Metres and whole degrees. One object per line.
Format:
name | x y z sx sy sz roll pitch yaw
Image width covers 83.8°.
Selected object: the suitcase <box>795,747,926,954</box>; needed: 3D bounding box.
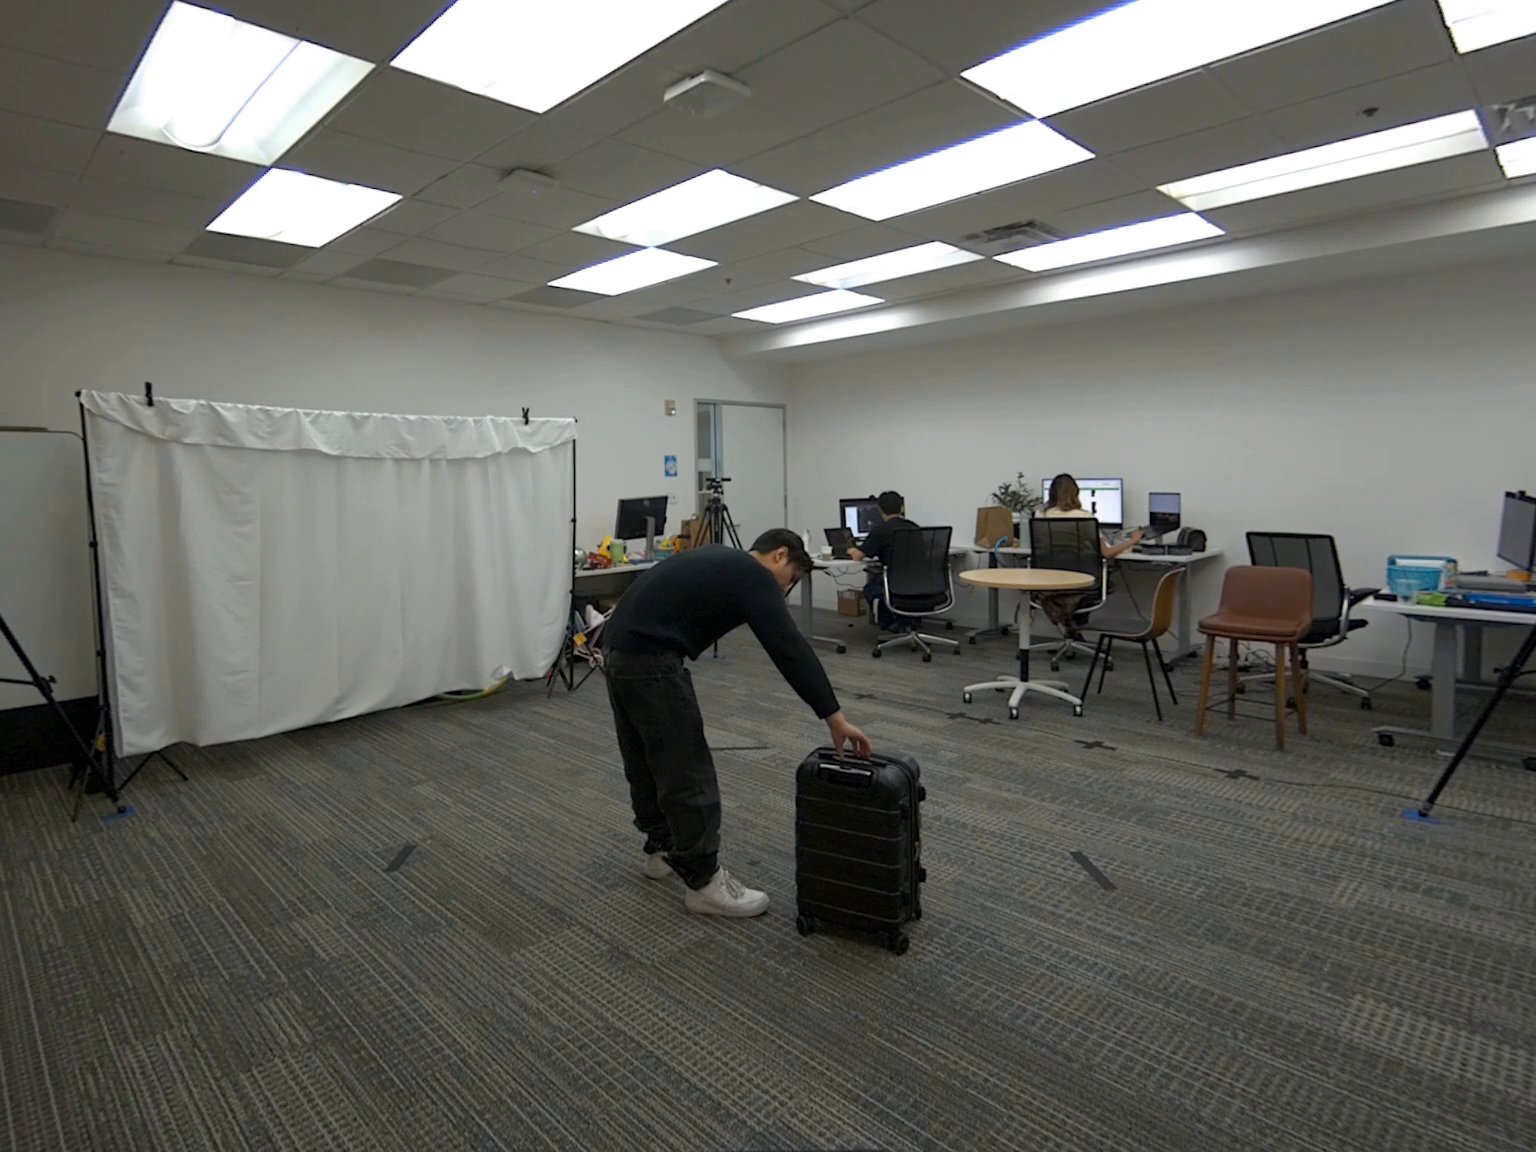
suitcase | 0.281 0.813 2.644 0.384 0.548 0.243 1 3 28
